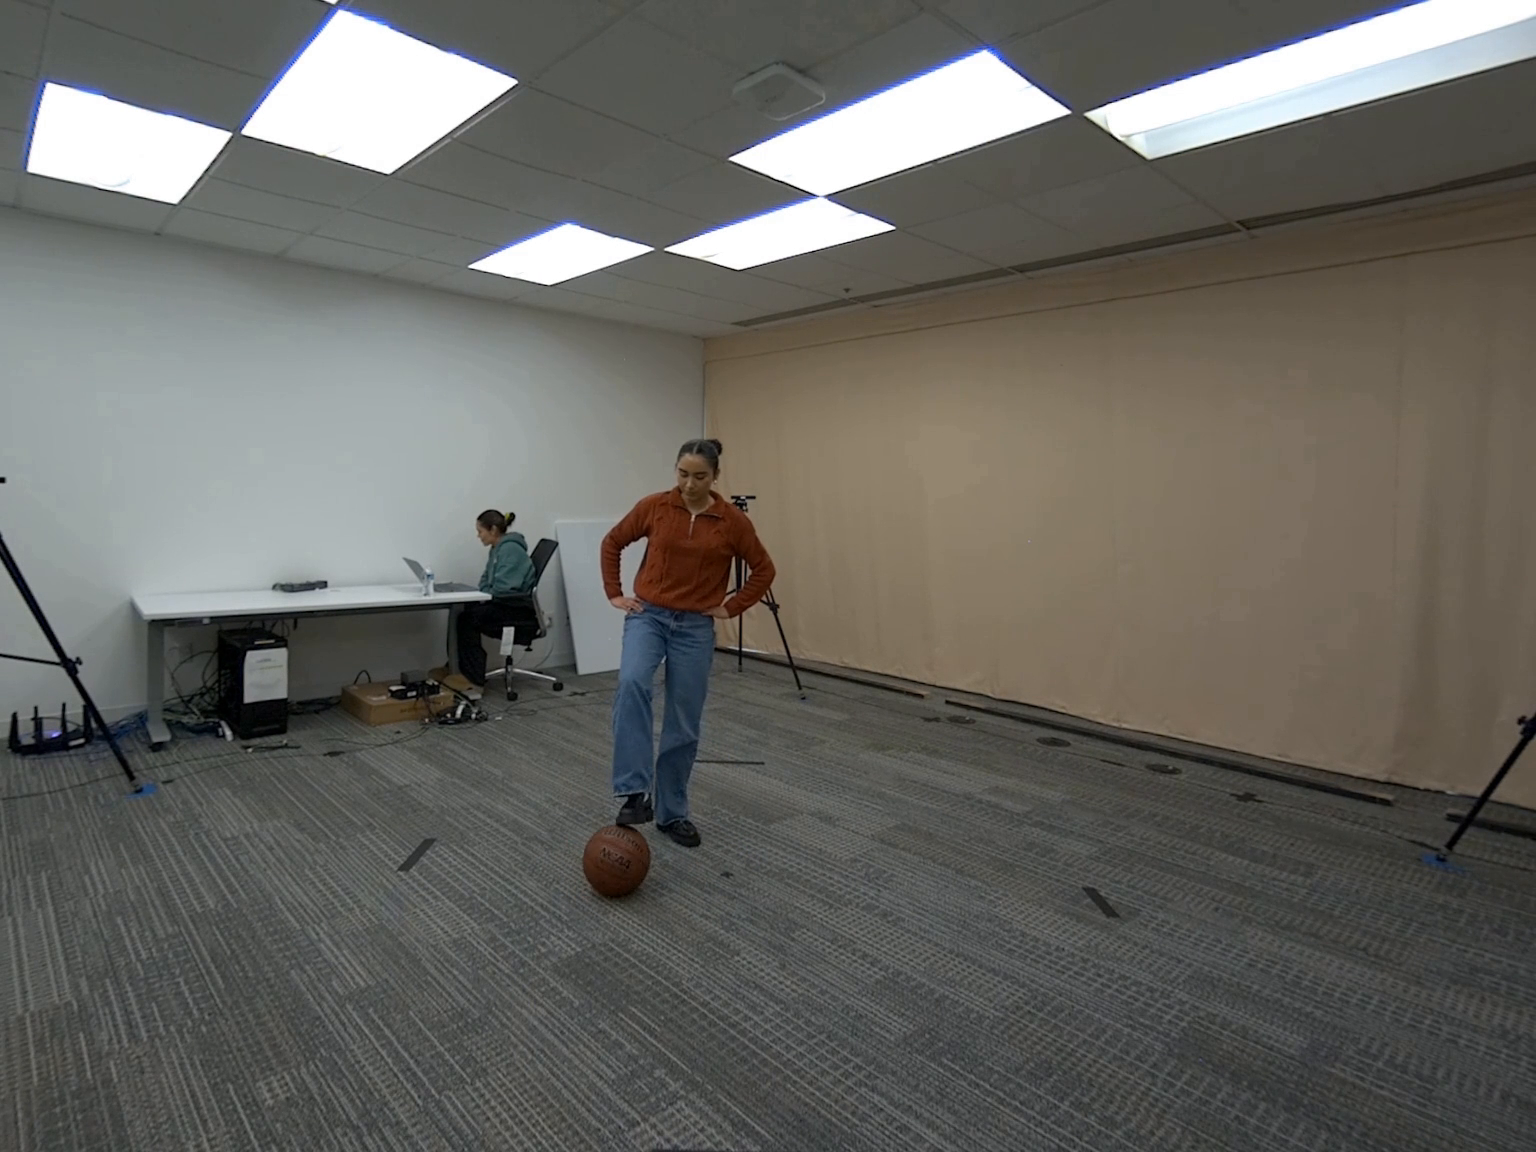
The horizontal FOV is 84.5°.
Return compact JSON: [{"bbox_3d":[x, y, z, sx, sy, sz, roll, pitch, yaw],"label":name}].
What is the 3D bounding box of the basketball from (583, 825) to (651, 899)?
[{"bbox_3d":[-0.543,0.996,2.942,0.236,0.235,0.237,1,4,-1],"label":"basketball"}]
